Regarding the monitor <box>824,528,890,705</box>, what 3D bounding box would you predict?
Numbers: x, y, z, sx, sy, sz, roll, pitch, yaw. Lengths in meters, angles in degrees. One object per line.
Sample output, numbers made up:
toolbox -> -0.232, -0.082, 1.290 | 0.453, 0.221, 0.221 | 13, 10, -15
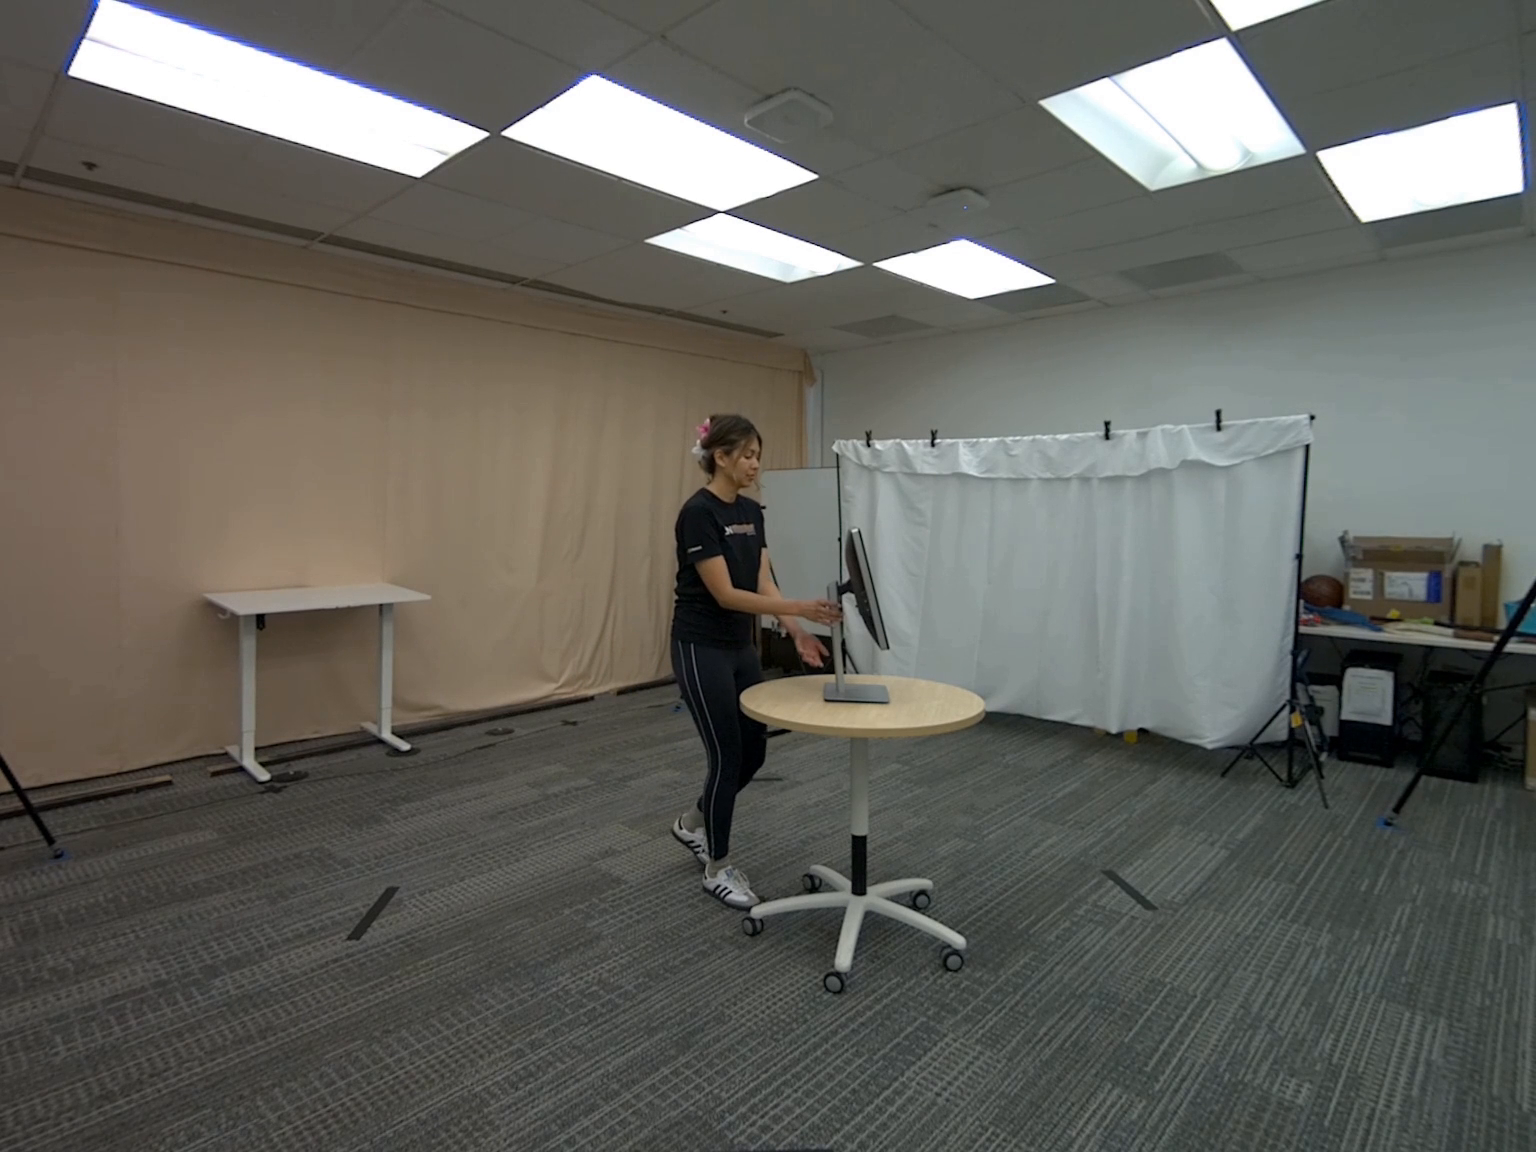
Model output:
monitor -> 0.286, 0.124, 2.722 | 0.188, 0.522, 0.537 | 0, 3, 3
